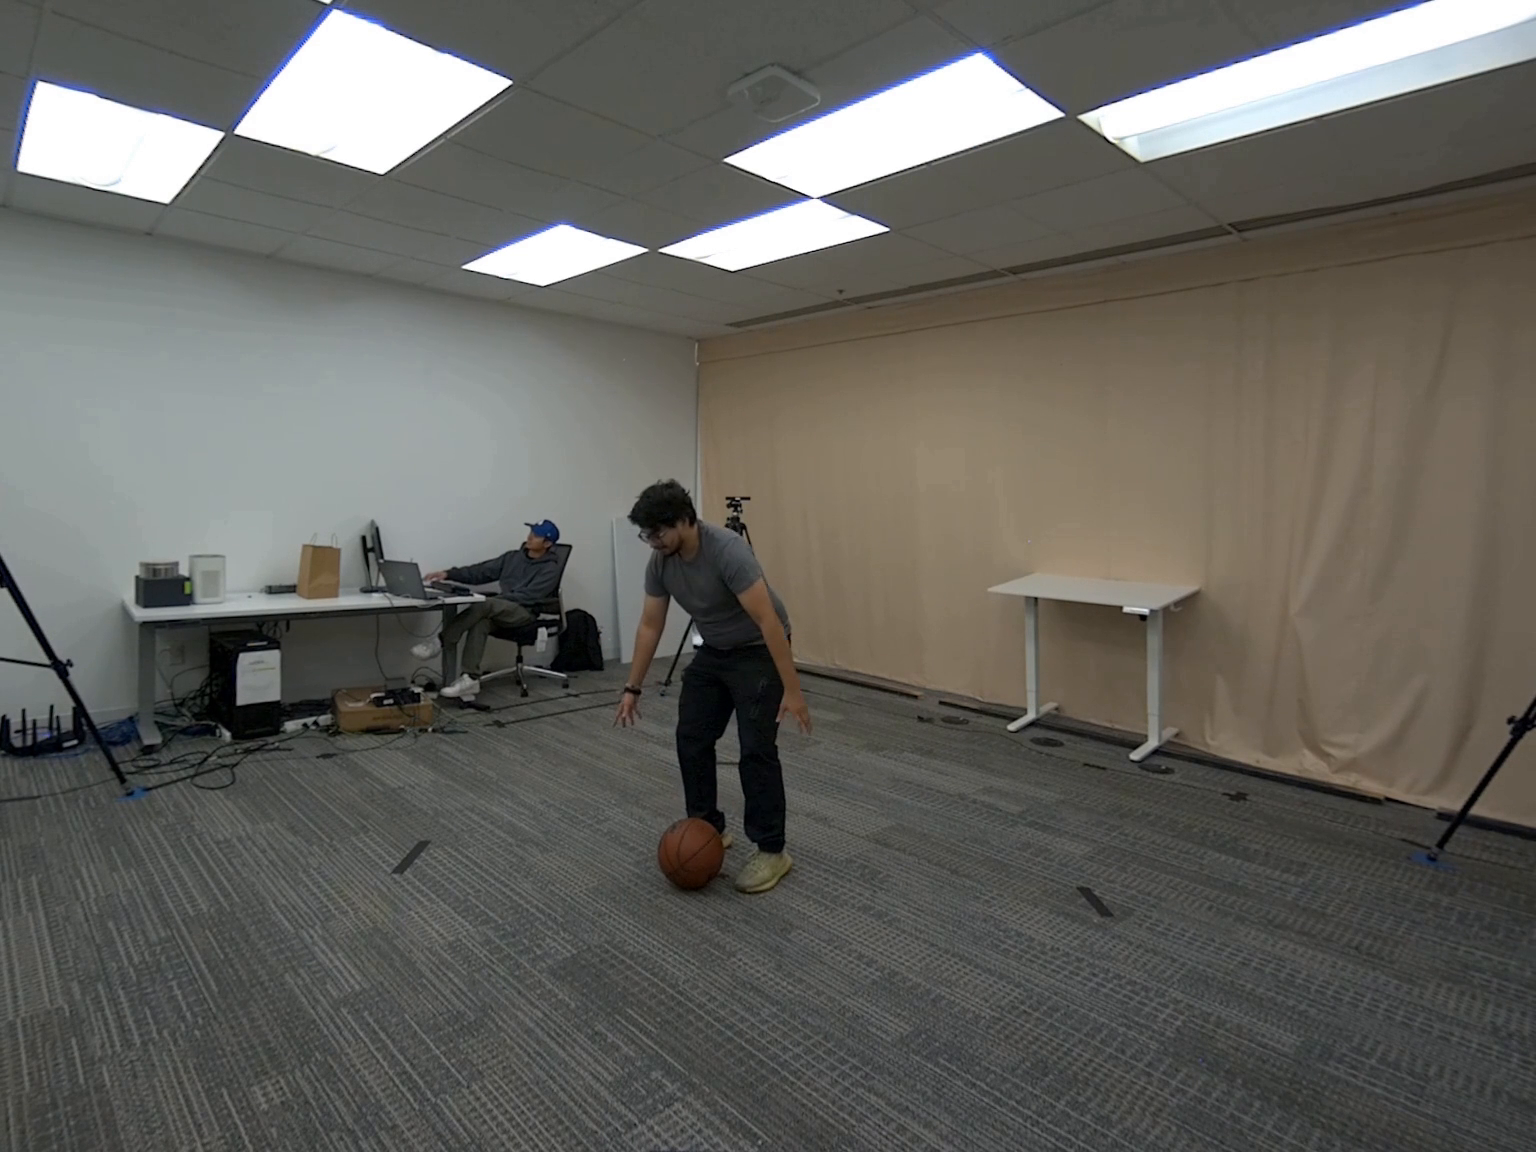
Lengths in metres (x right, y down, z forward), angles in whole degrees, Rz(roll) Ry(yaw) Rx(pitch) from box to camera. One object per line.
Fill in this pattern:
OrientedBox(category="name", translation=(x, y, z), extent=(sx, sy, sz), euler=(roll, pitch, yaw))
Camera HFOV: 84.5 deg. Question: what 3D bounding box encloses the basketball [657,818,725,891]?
OrientedBox(category="basketball", translation=(-0.279, 0.990, 3.010), extent=(0.236, 0.235, 0.237), euler=(1, 4, -1))
